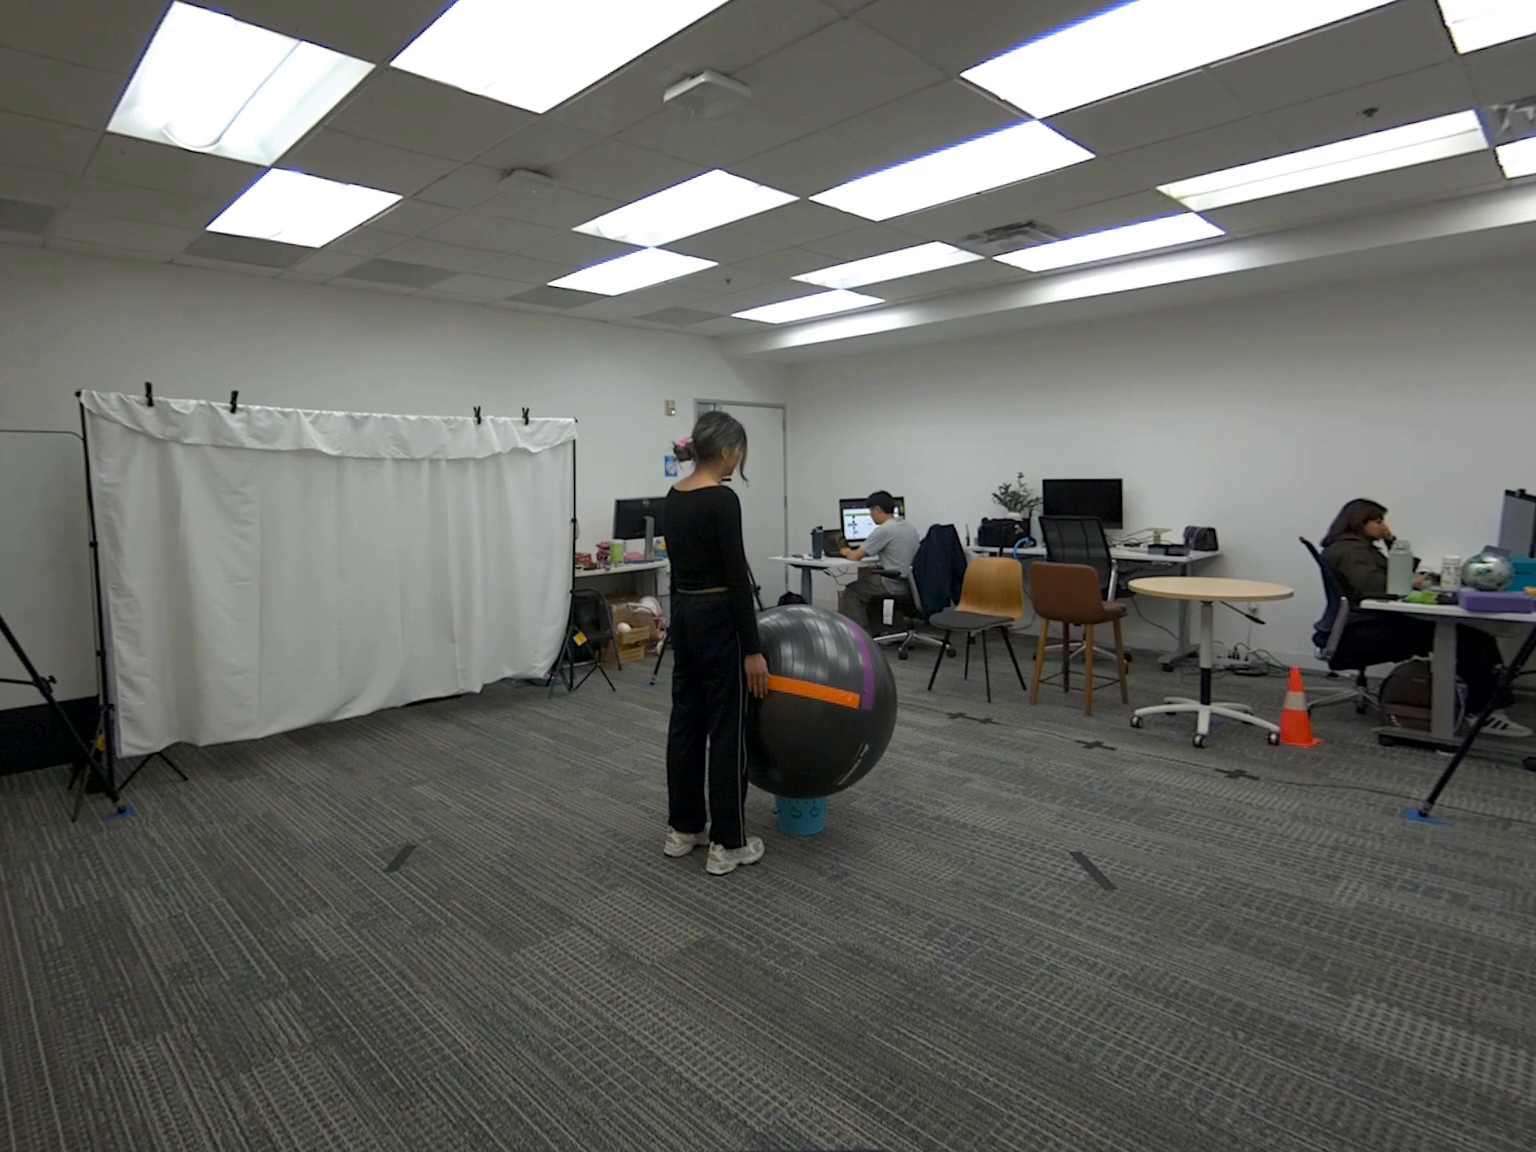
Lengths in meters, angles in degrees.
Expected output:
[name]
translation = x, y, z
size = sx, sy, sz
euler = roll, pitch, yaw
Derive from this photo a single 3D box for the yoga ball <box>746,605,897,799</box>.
[yoga ball]
translation = 0.124, 0.499, 3.411
size = 0.757, 0.755, 0.762
euler = -1, 5, -2
